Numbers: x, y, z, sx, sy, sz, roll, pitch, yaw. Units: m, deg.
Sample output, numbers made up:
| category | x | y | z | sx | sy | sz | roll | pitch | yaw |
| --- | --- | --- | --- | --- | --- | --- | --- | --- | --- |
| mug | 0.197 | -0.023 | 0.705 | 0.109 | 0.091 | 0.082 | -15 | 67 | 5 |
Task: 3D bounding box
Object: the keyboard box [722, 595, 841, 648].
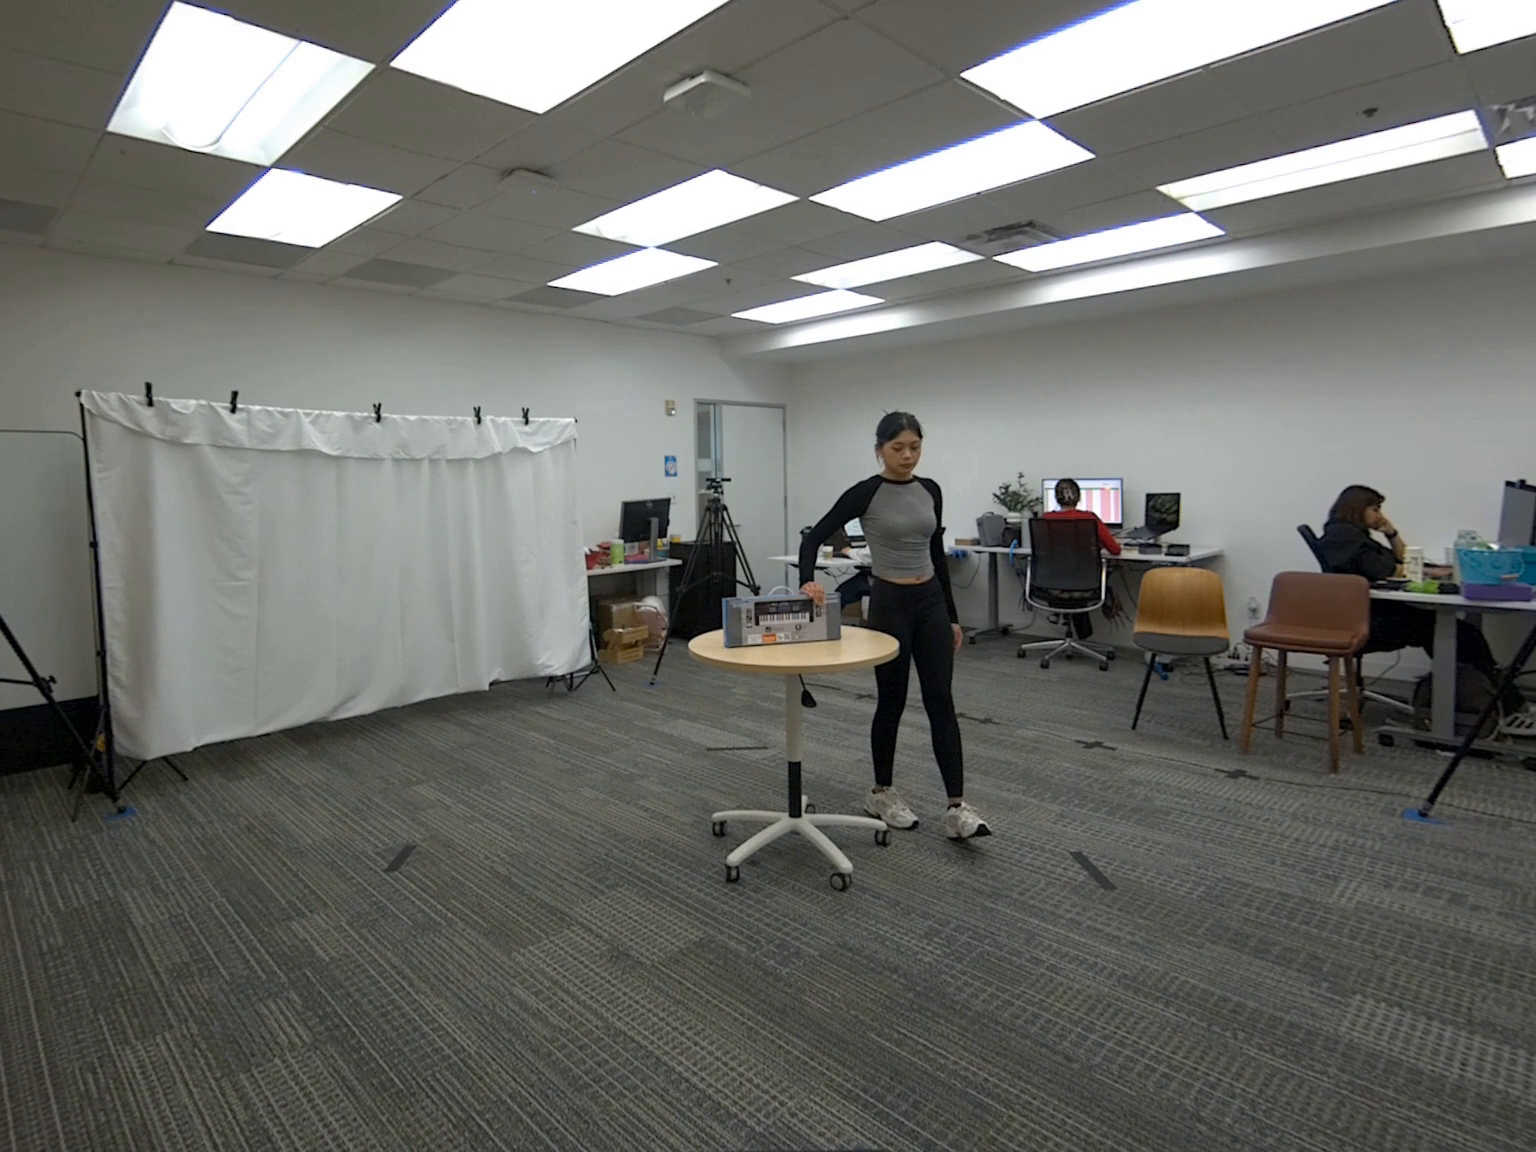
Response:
| category | x | y | z | sx | sy | sz | roll | pitch | yaw |
| --- | --- | --- | --- | --- | --- | --- | --- | --- | --- |
| keyboard box | 0.052 | 0.159 | 3.124 | 0.431 | 0.176 | 0.060 | -2 | 1 | -13 |
